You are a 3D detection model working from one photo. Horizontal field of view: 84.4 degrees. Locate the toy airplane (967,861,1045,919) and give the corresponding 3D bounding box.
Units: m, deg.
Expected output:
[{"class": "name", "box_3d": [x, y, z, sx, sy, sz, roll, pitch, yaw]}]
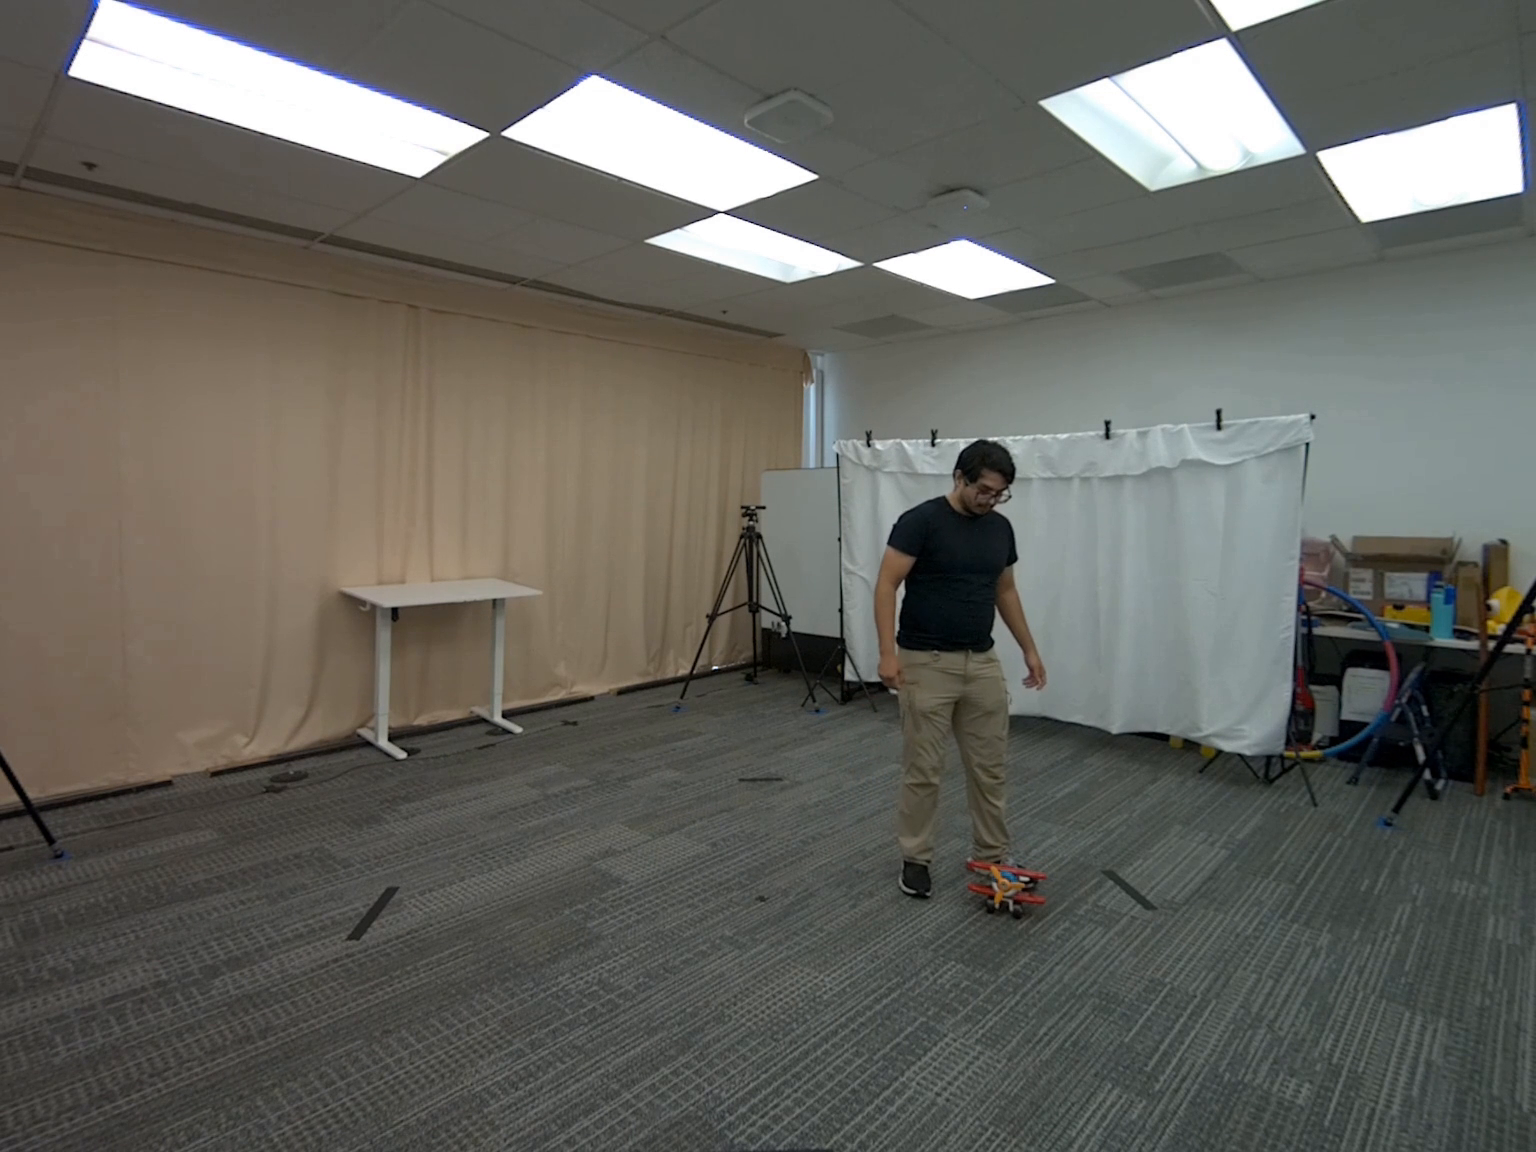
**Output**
[{"class": "toy airplane", "box_3d": [0.825, 1.079, 2.931, 0.250, 0.156, 0.261, 1, 7, -4]}]
